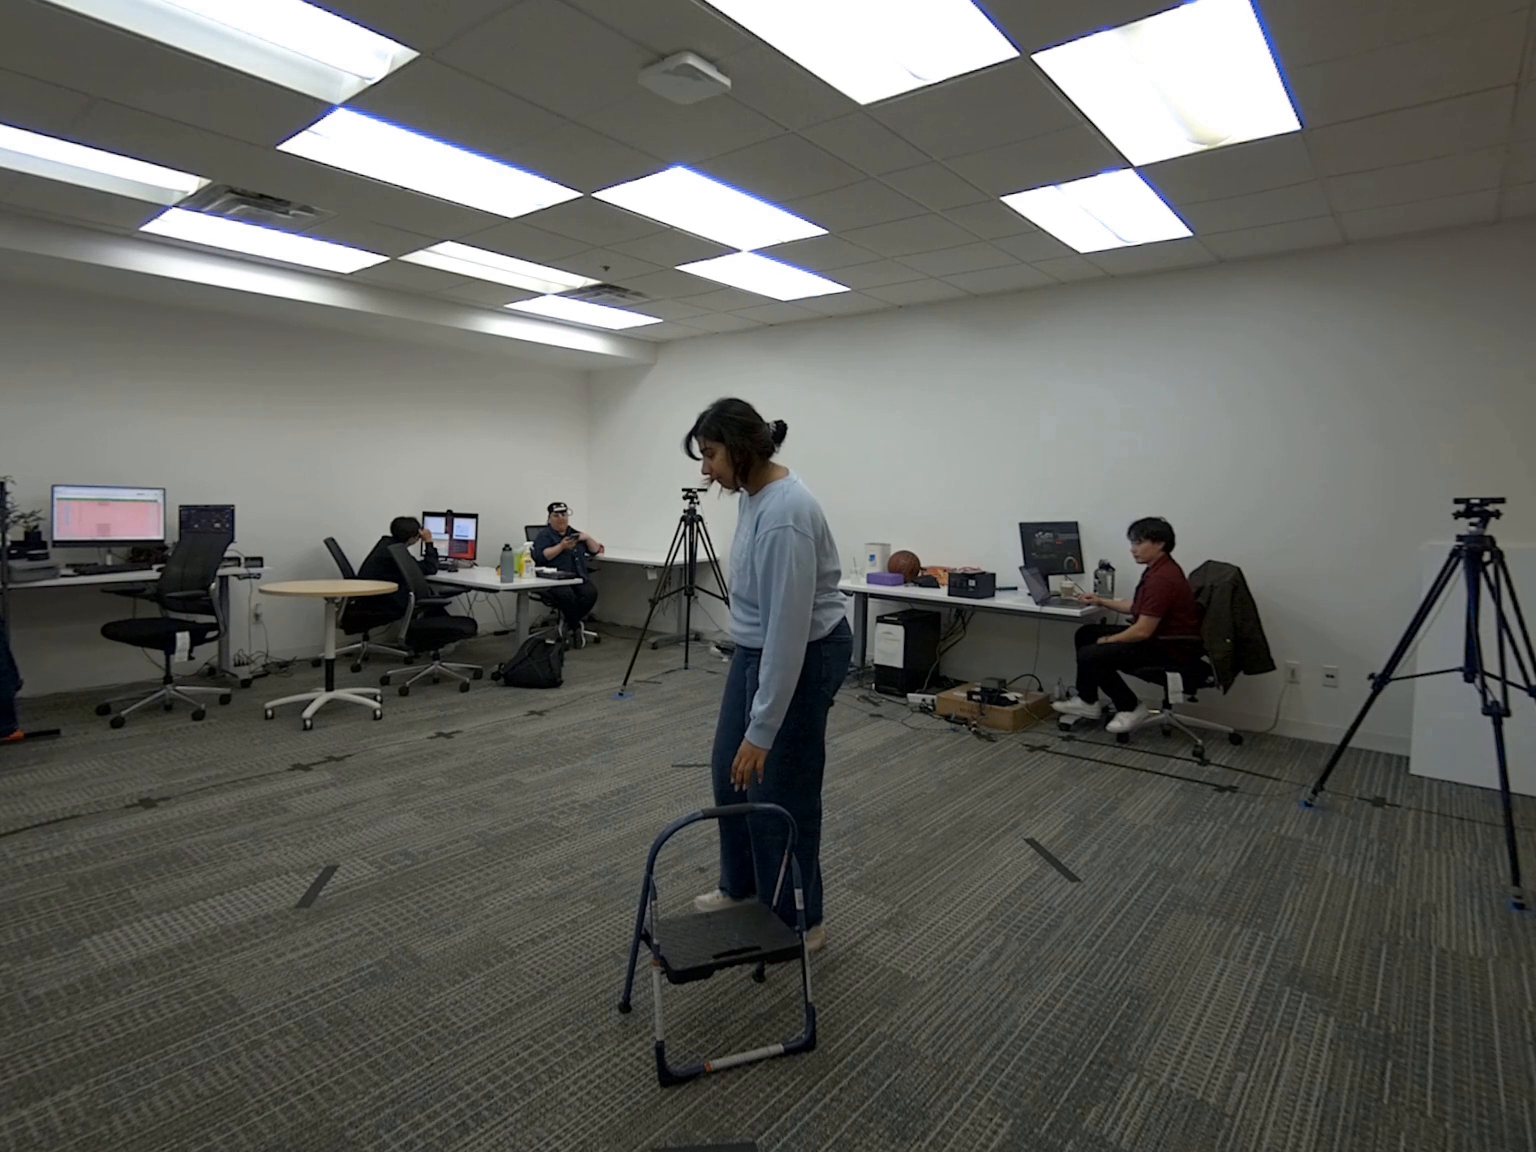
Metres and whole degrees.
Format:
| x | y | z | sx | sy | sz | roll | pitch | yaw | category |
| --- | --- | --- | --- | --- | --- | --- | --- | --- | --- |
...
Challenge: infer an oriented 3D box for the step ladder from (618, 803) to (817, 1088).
| x | y | z | sx | sy | sz | roll | pitch | yaw | category |
| --- | --- | --- | --- | --- | --- | --- | --- | --- | --- |
| -0.137 | 0.863 | 2.184 | 0.421 | 0.604 | 0.359 | -1 | 5 | -25 | step ladder |
